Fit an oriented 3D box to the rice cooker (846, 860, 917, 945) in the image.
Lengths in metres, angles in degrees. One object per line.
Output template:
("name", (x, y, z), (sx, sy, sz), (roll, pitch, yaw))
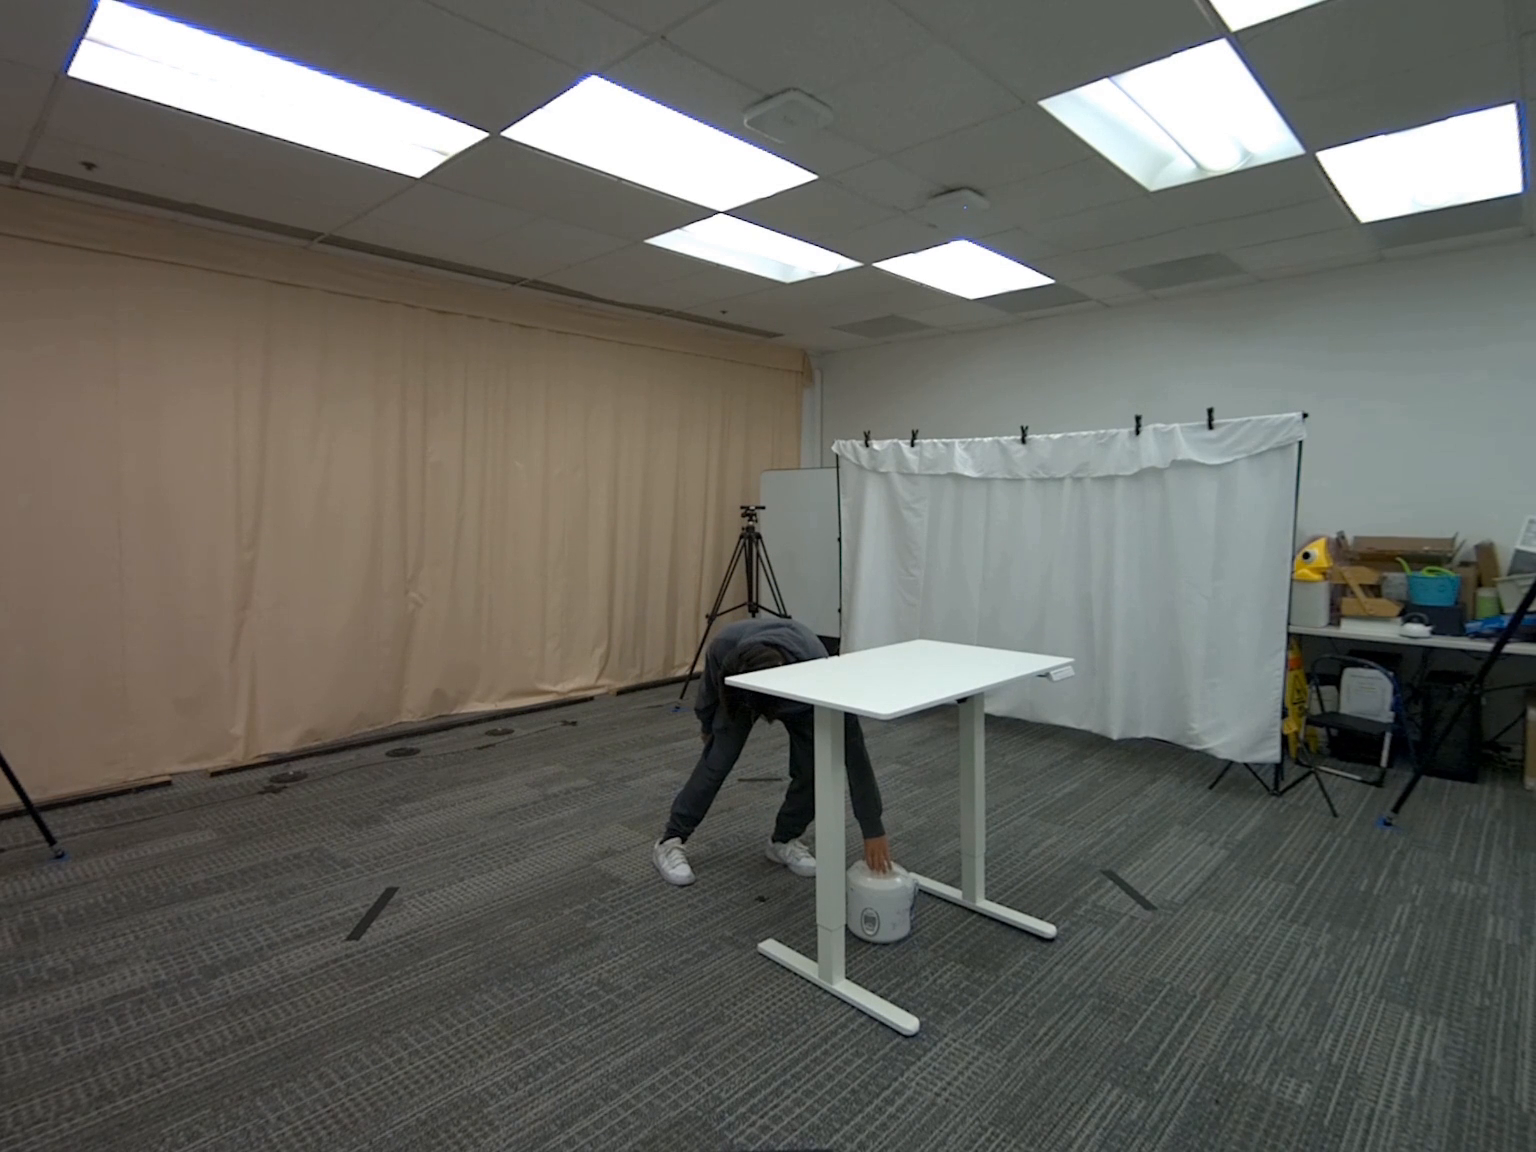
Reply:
("rice cooker", (0.367, 1.045, 2.747), (0.226, 0.232, 0.212), (2, 3, 26))
